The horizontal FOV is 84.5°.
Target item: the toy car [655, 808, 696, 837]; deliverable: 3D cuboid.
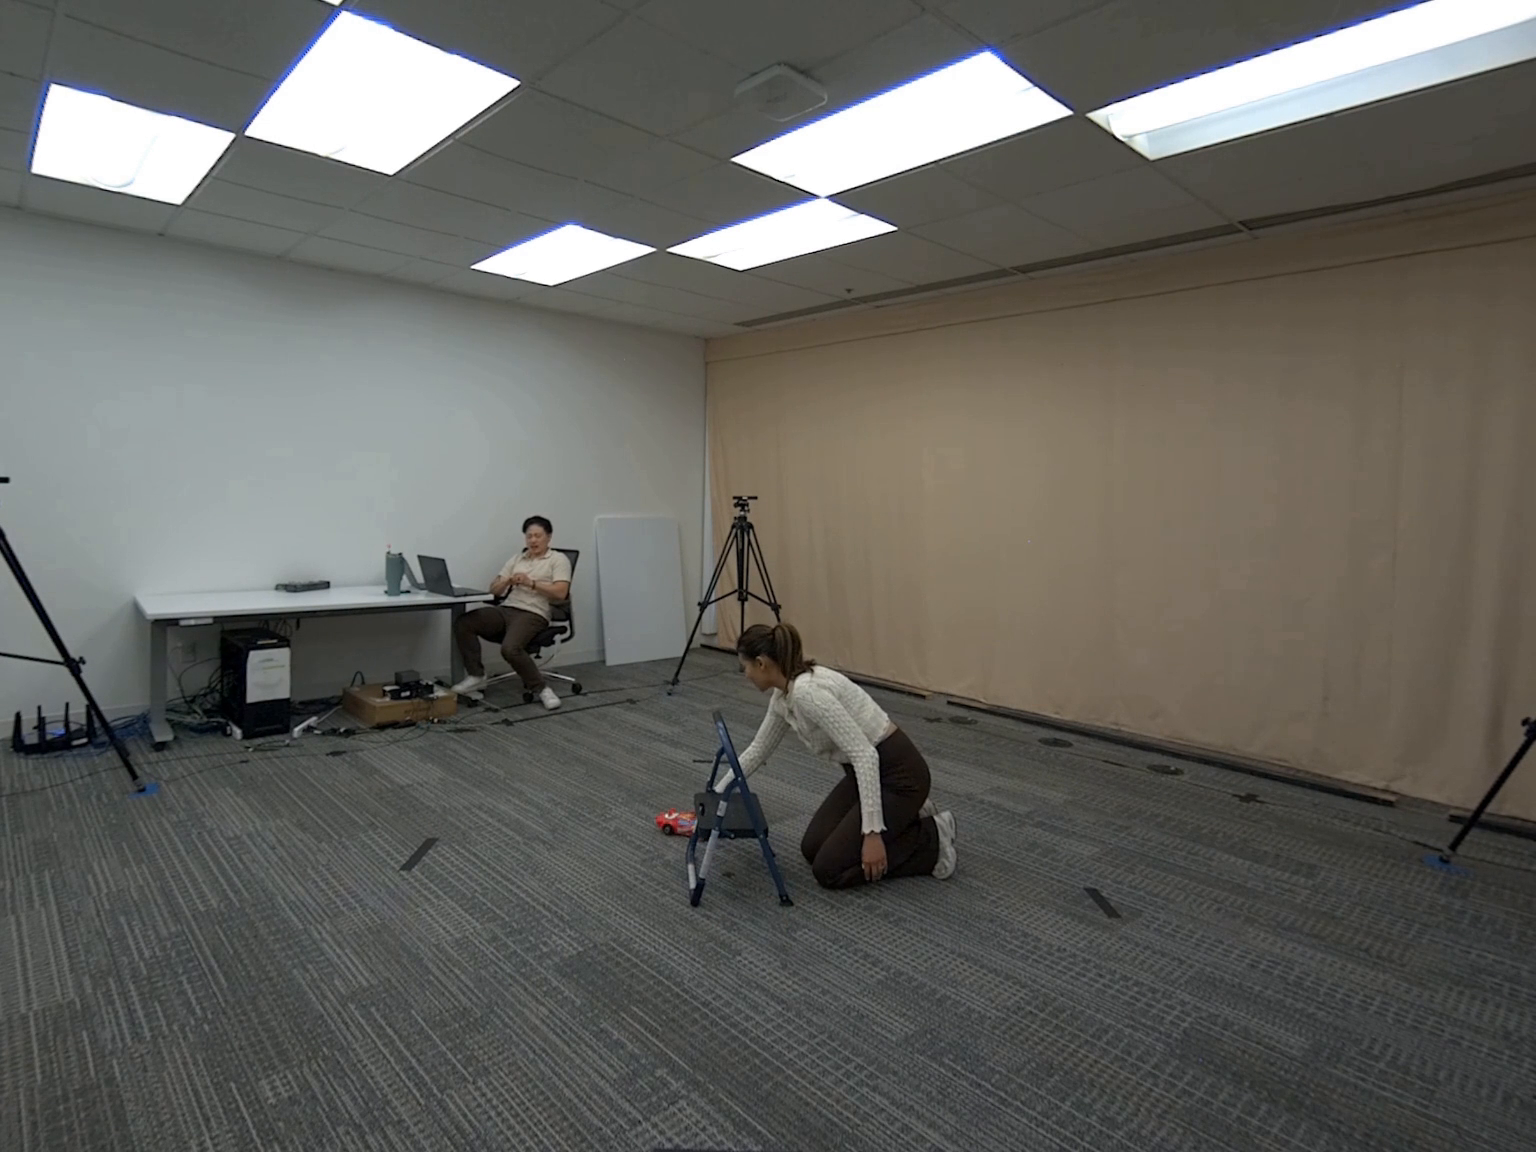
[{"bbox_3d":[-0.352,1.026,3.492,0.260,0.083,0.128,16,10,22],"label":"toy car"}]
